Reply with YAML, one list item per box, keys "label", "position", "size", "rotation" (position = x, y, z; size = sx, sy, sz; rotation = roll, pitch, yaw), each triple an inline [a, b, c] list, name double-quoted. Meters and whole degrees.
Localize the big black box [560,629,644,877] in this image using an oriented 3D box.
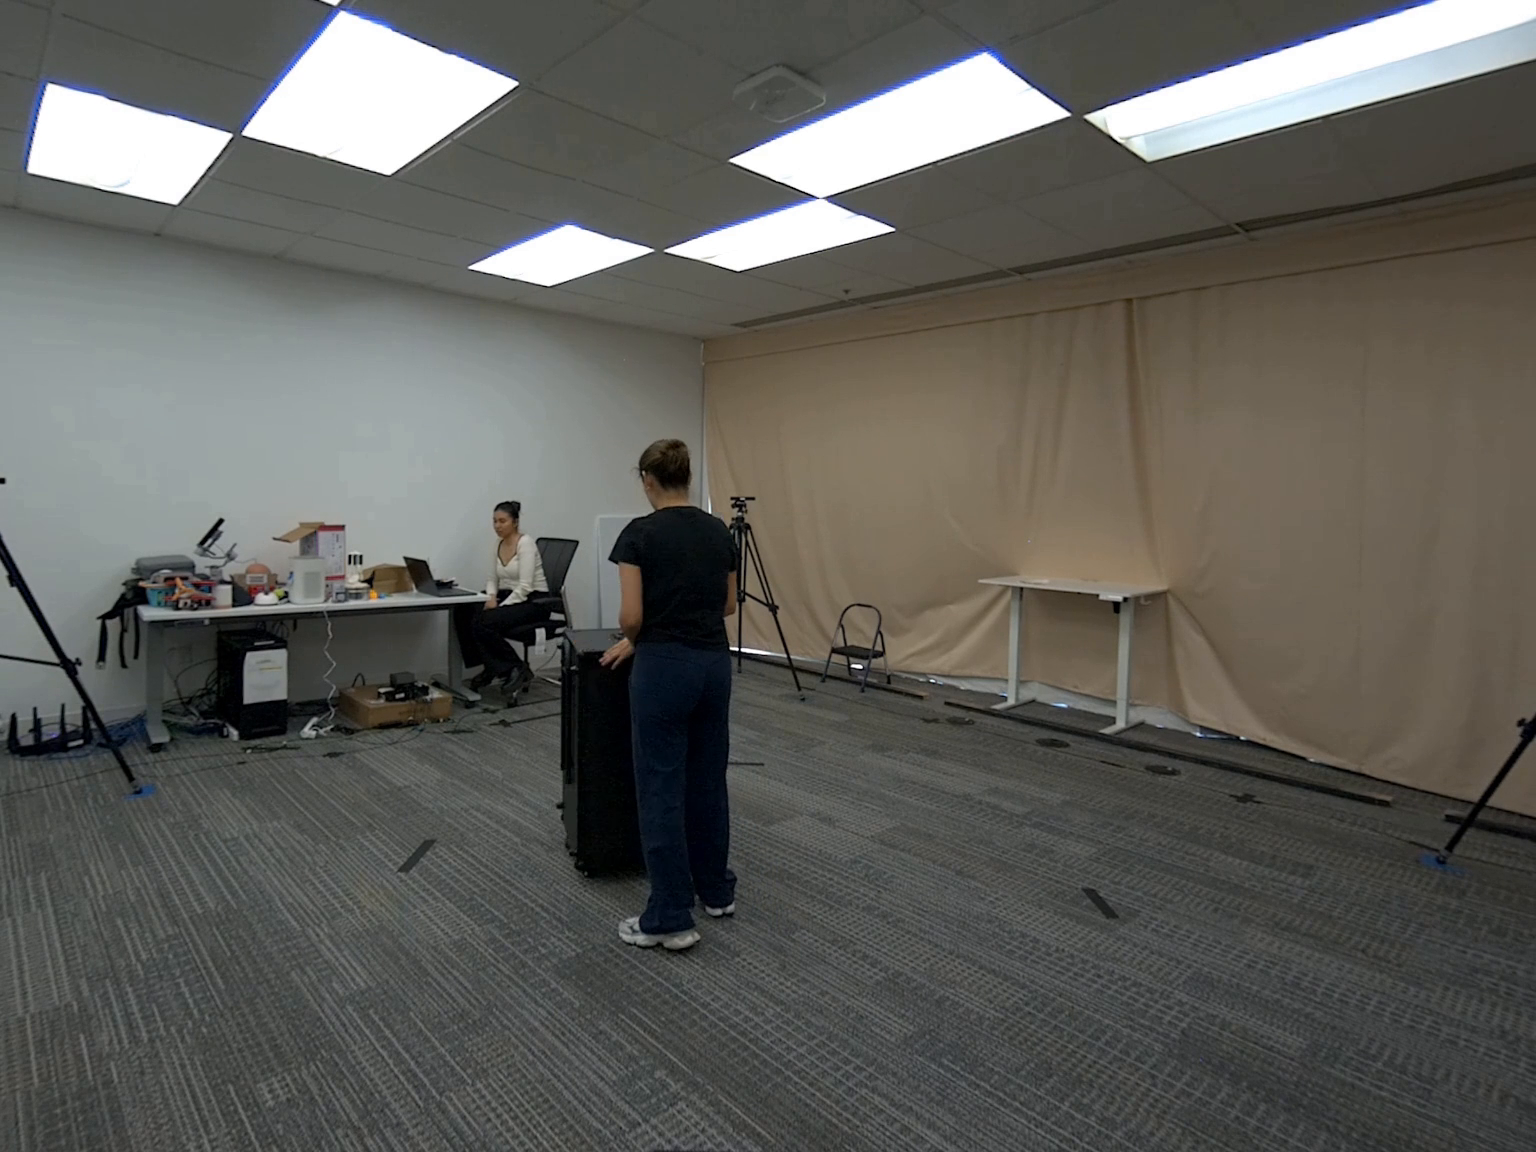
- label: "big black box"
  position: [-0.594, 0.663, 3.195]
  size: [0.391, 0.859, 0.530]
  rotation: [-1, 5, -19]
